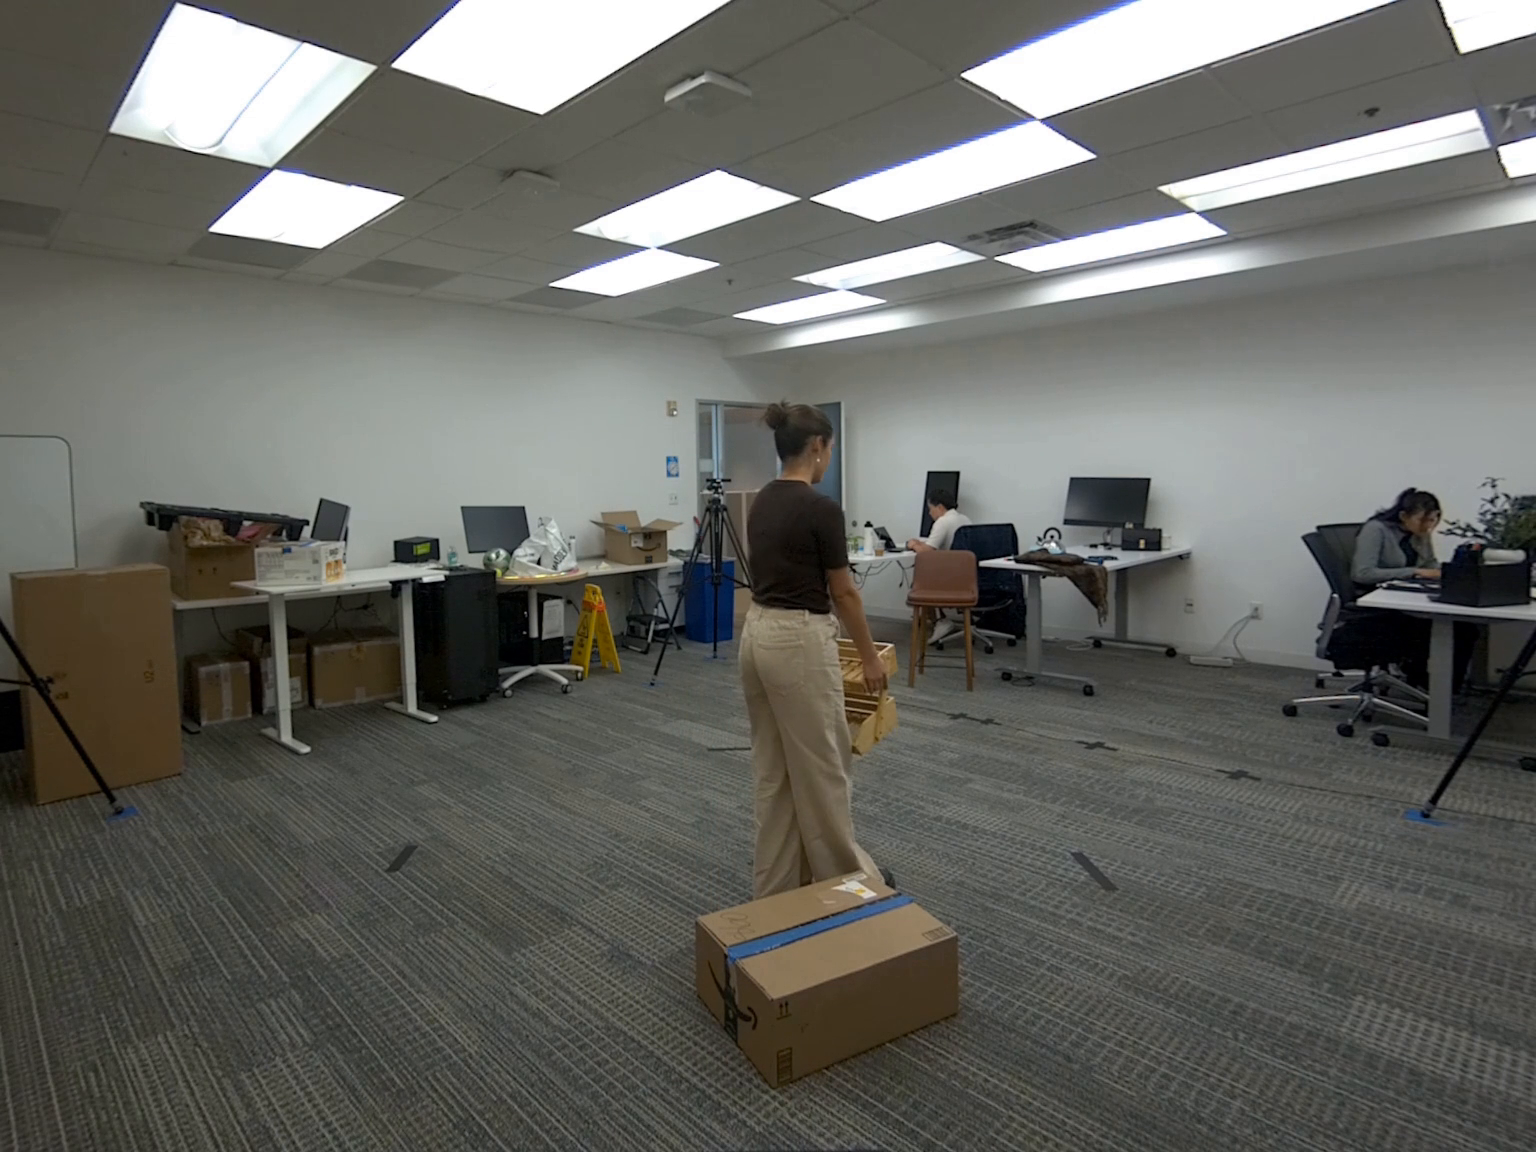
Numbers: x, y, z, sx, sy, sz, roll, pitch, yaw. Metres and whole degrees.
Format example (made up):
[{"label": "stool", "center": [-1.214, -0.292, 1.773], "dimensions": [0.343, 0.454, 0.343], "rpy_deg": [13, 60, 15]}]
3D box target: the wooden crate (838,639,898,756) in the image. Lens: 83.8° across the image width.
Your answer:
[{"label": "wooden crate", "center": [0.241, 0.391, 2.839], "dimensions": [0.334, 0.269, 0.297], "rpy_deg": [2, 20, 41]}]
